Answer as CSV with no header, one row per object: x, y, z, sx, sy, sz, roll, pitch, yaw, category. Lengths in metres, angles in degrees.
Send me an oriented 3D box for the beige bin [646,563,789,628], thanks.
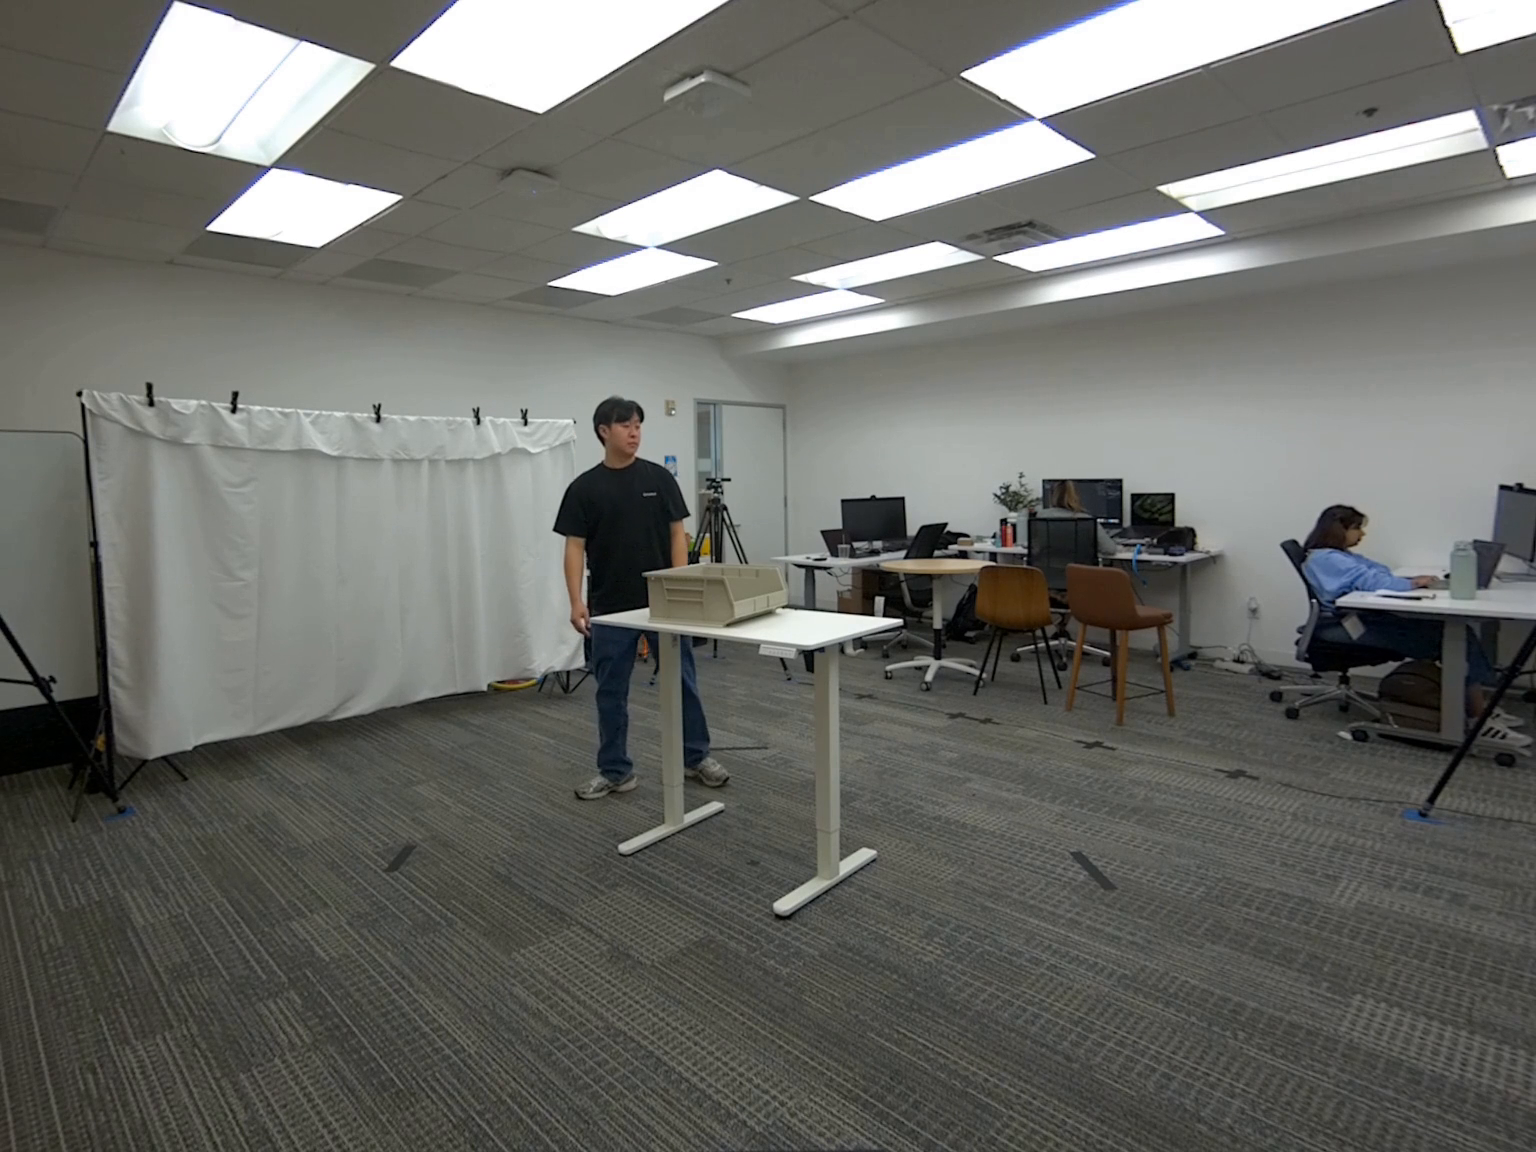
-0.185,0.068,3.167,0.387,0.188,0.413,1,6,29,beige bin
